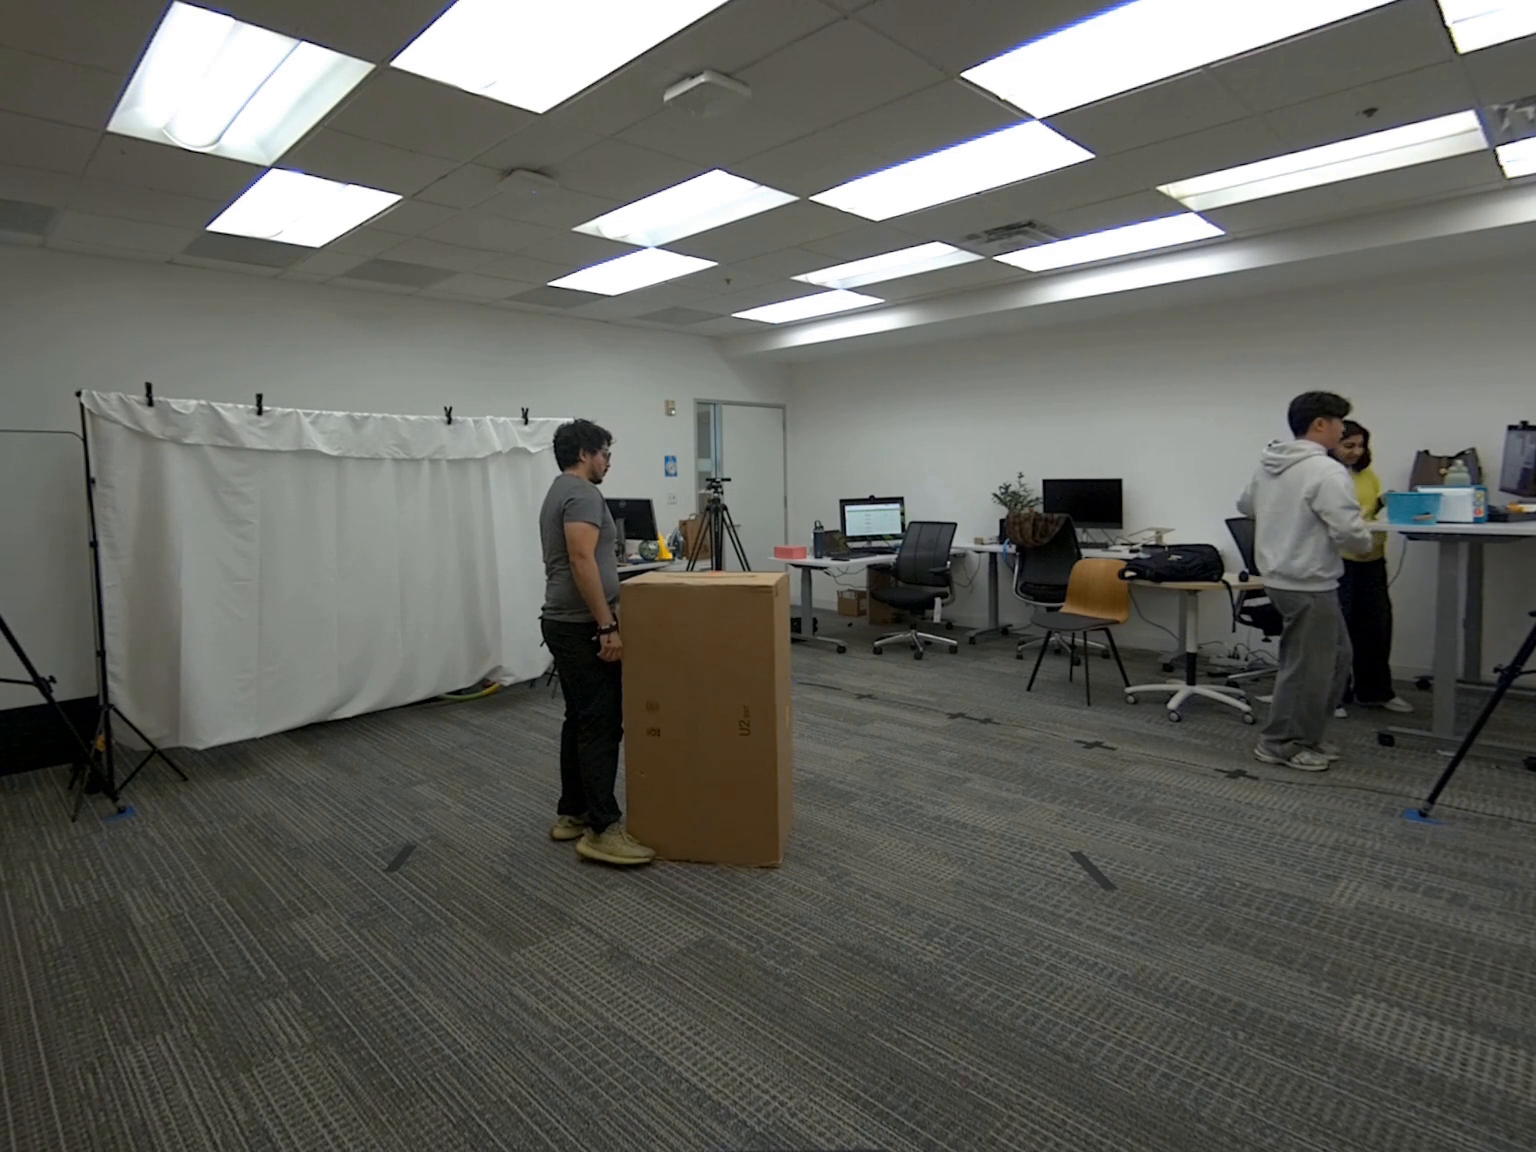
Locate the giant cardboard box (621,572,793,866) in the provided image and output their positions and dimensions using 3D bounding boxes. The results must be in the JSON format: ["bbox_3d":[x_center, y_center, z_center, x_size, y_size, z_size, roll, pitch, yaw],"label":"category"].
[{"bbox_3d":[-0.219,0.516,3.291,0.591,1.023,0.443,0,4,11],"label":"giant cardboard box"}]
